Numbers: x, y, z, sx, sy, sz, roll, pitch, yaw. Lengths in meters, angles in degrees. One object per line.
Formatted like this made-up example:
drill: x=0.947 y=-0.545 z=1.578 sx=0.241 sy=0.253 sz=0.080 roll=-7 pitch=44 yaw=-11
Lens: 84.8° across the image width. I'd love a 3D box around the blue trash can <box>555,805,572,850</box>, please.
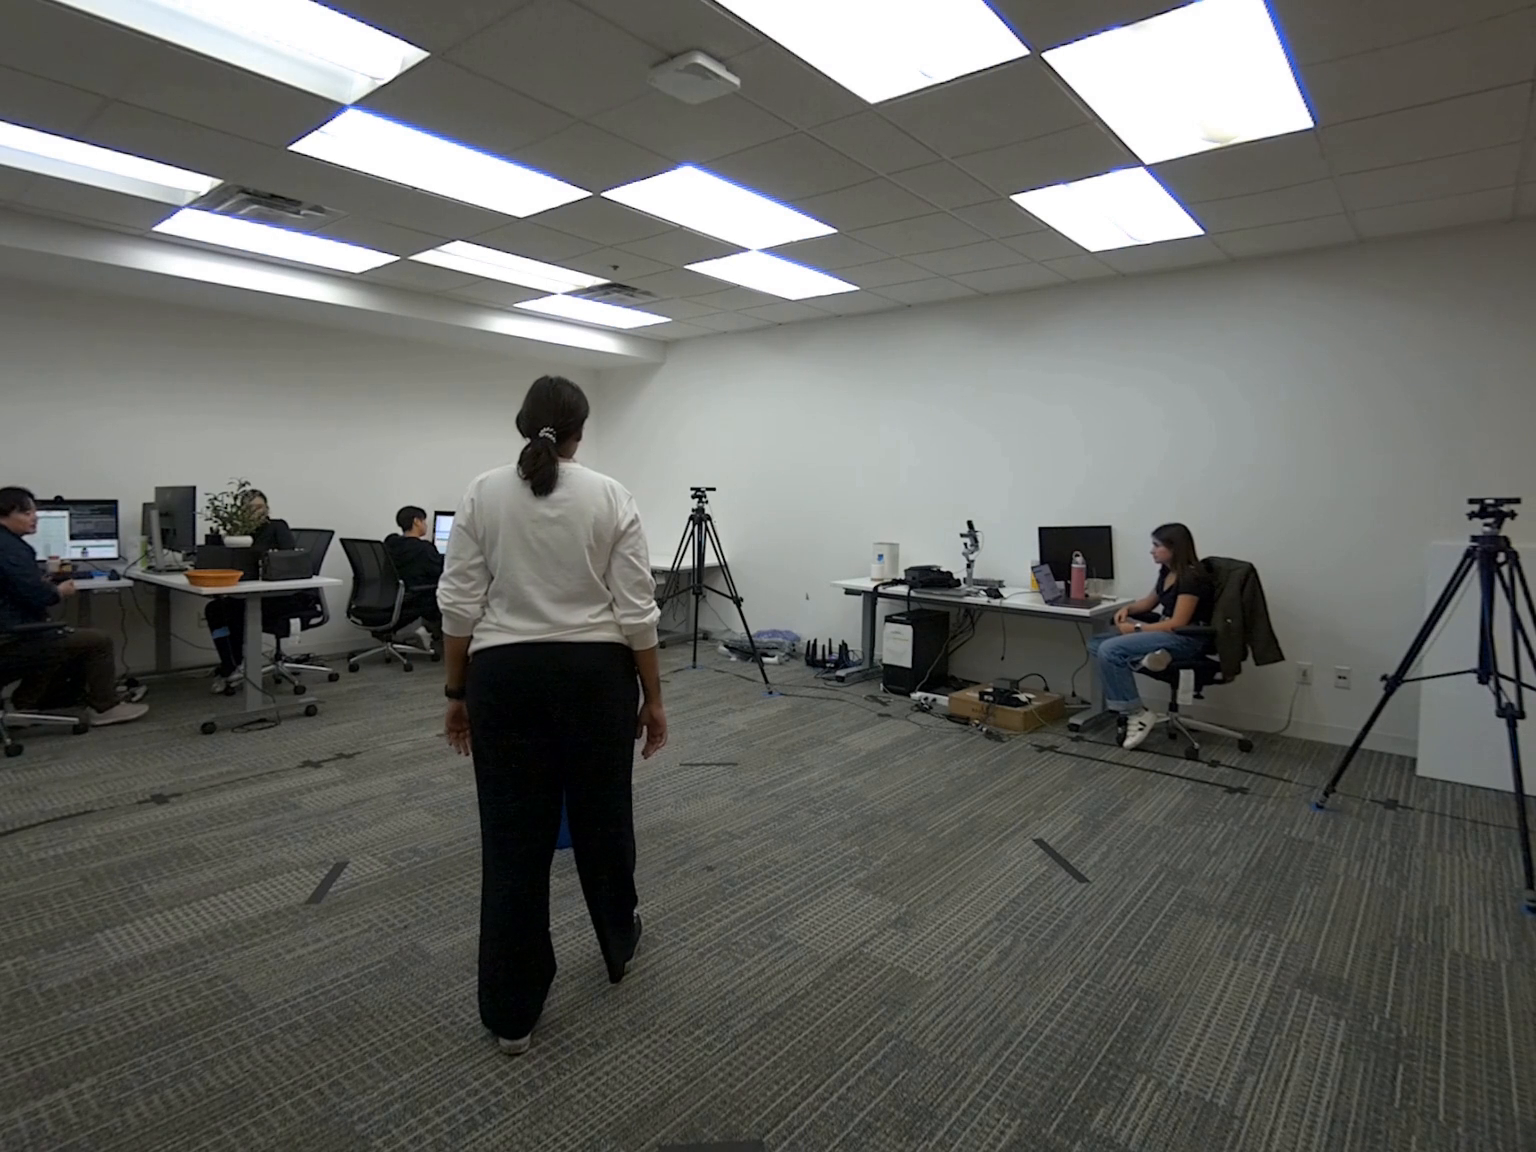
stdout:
blue trash can: x=-0.801 y=0.666 z=3.396 sx=0.370 sy=0.712 sz=0.382 roll=0 pitch=3 yaw=-20
